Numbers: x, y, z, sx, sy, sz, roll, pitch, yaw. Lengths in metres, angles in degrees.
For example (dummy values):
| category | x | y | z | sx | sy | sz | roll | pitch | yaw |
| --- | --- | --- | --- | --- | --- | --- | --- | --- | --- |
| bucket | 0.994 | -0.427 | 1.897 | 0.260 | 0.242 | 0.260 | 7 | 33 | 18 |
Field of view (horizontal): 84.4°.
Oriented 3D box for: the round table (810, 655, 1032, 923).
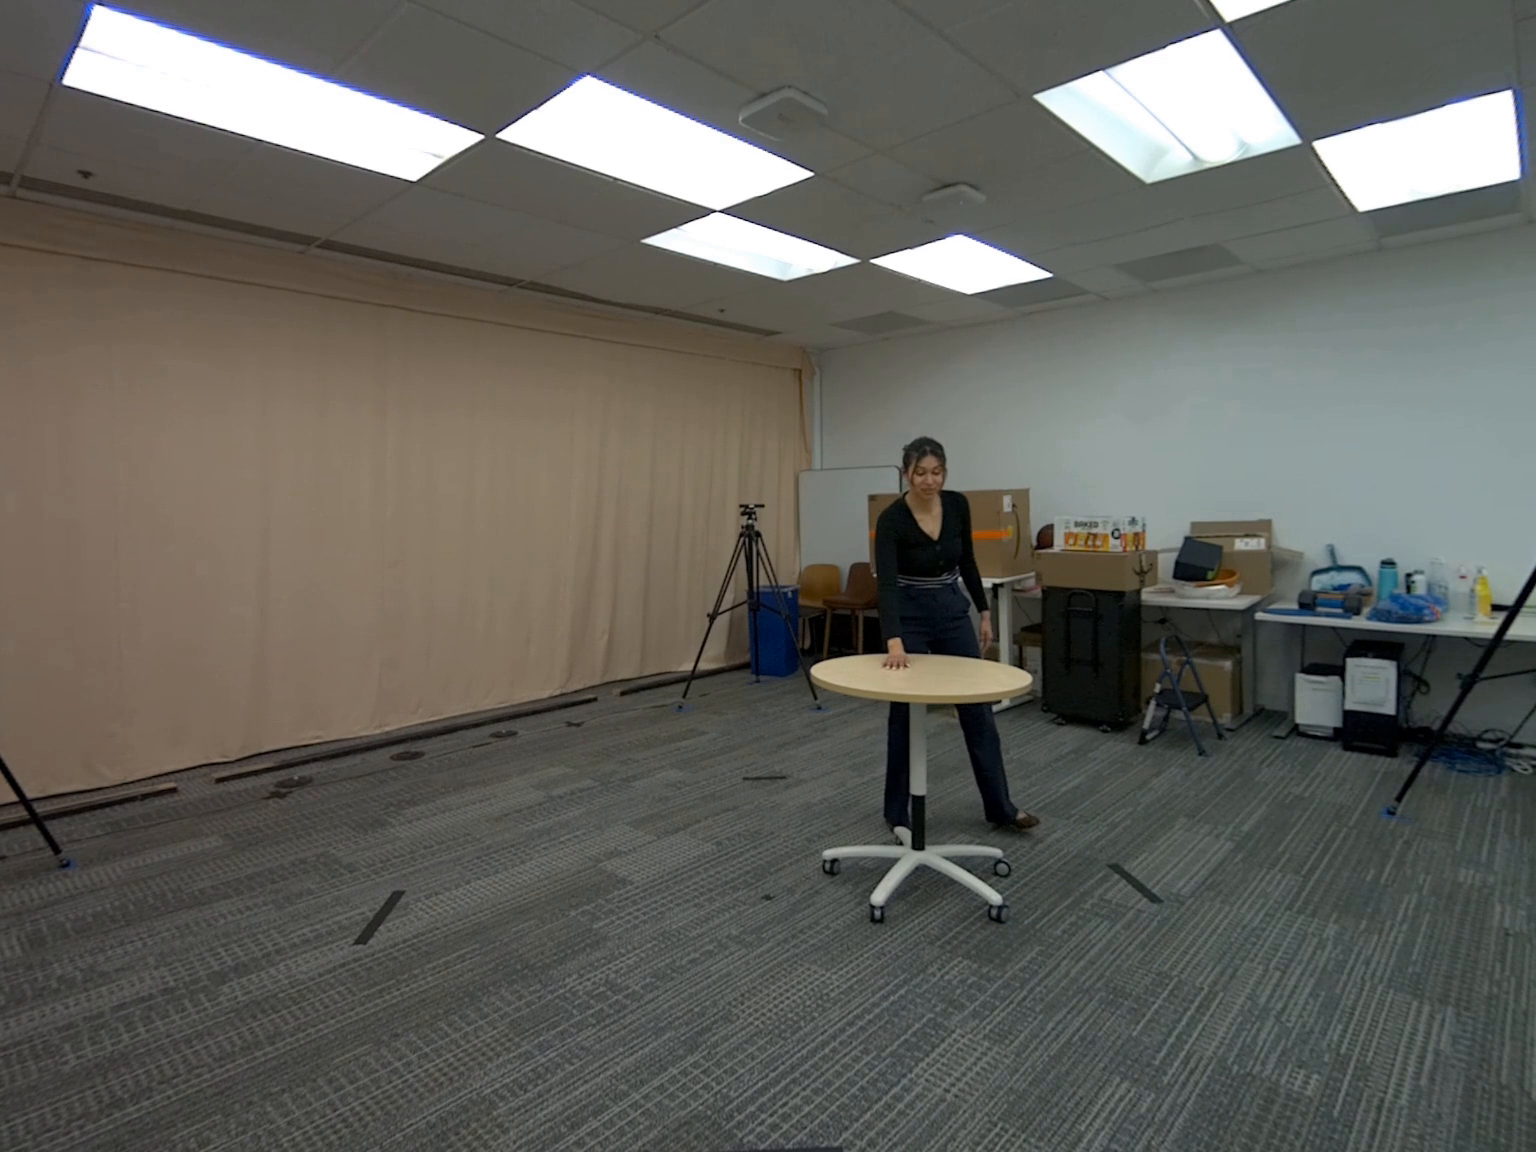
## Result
| category | x | y | z | sx | sy | sz | roll | pitch | yaw |
| --- | --- | --- | --- | --- | --- | --- | --- | --- | --- |
| round table | 0.544 | 0.738 | 3.025 | 0.763 | 0.792 | 0.766 | -1 | 3 | -2 |
